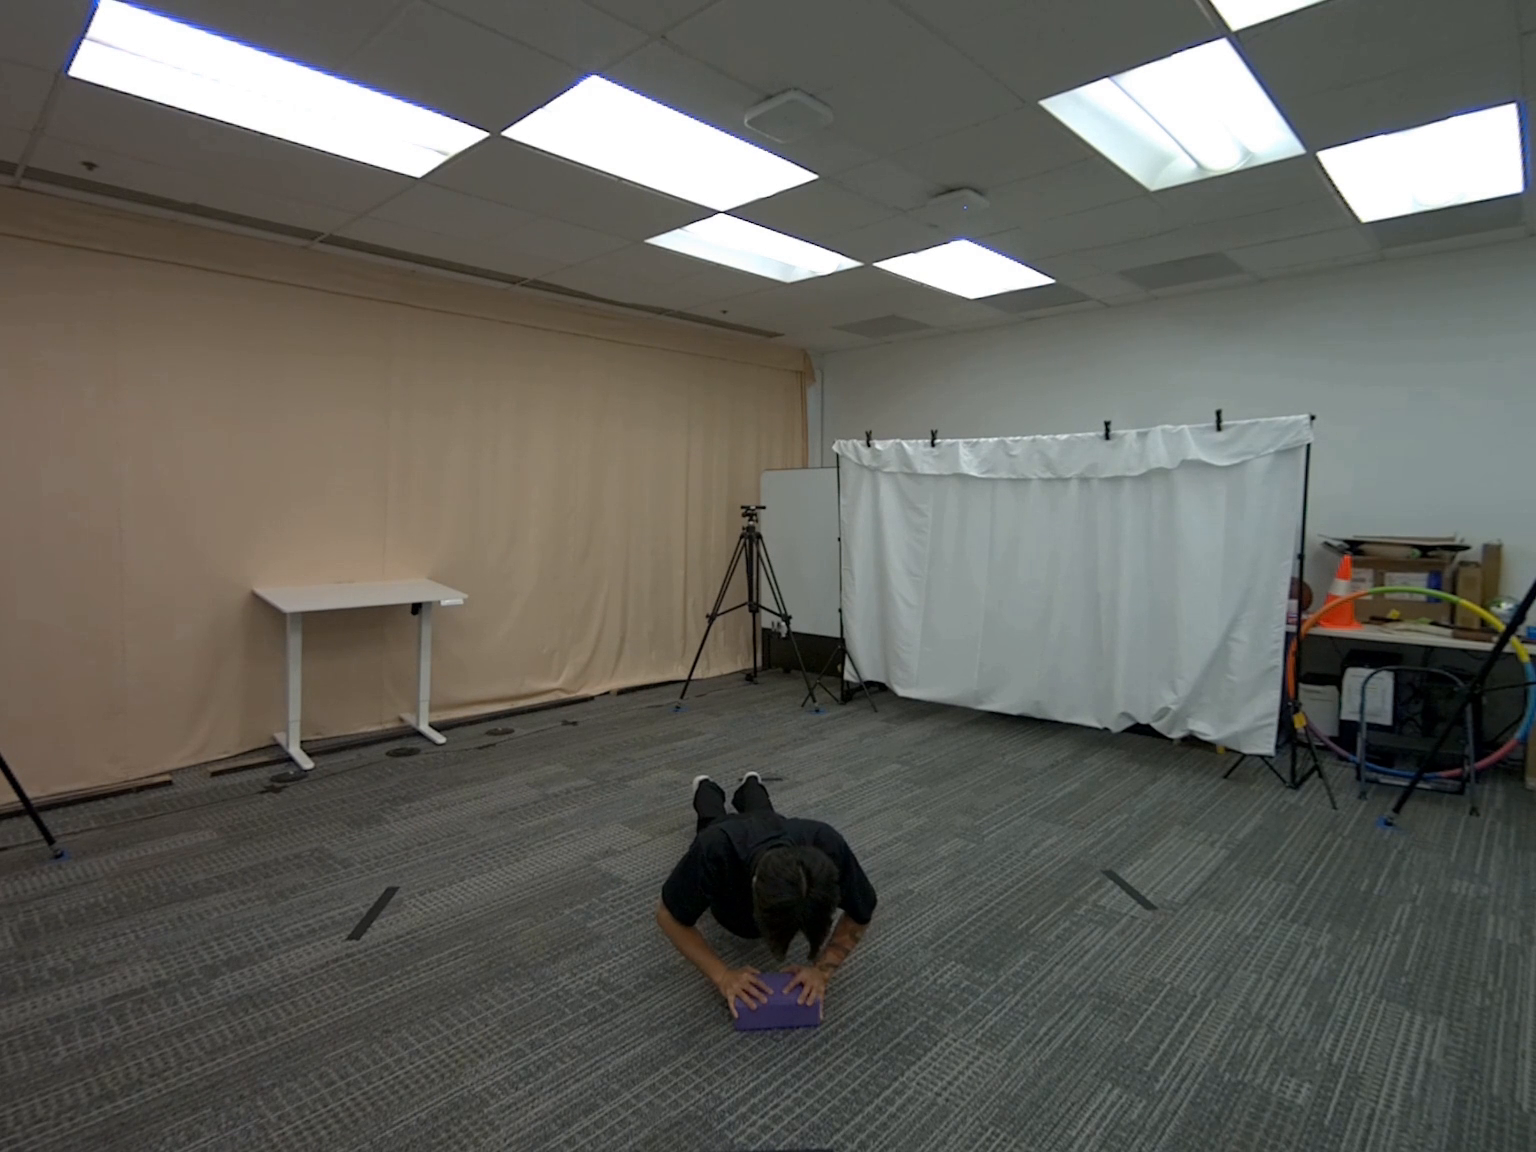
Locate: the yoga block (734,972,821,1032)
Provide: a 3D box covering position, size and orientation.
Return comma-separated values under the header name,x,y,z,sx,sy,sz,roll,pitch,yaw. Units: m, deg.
name,x,y,z,sx,sy,sz,roll,pitch,yaw
yoga block,0.012,1.162,2.308,0.227,0.076,0.150,0,5,-7
